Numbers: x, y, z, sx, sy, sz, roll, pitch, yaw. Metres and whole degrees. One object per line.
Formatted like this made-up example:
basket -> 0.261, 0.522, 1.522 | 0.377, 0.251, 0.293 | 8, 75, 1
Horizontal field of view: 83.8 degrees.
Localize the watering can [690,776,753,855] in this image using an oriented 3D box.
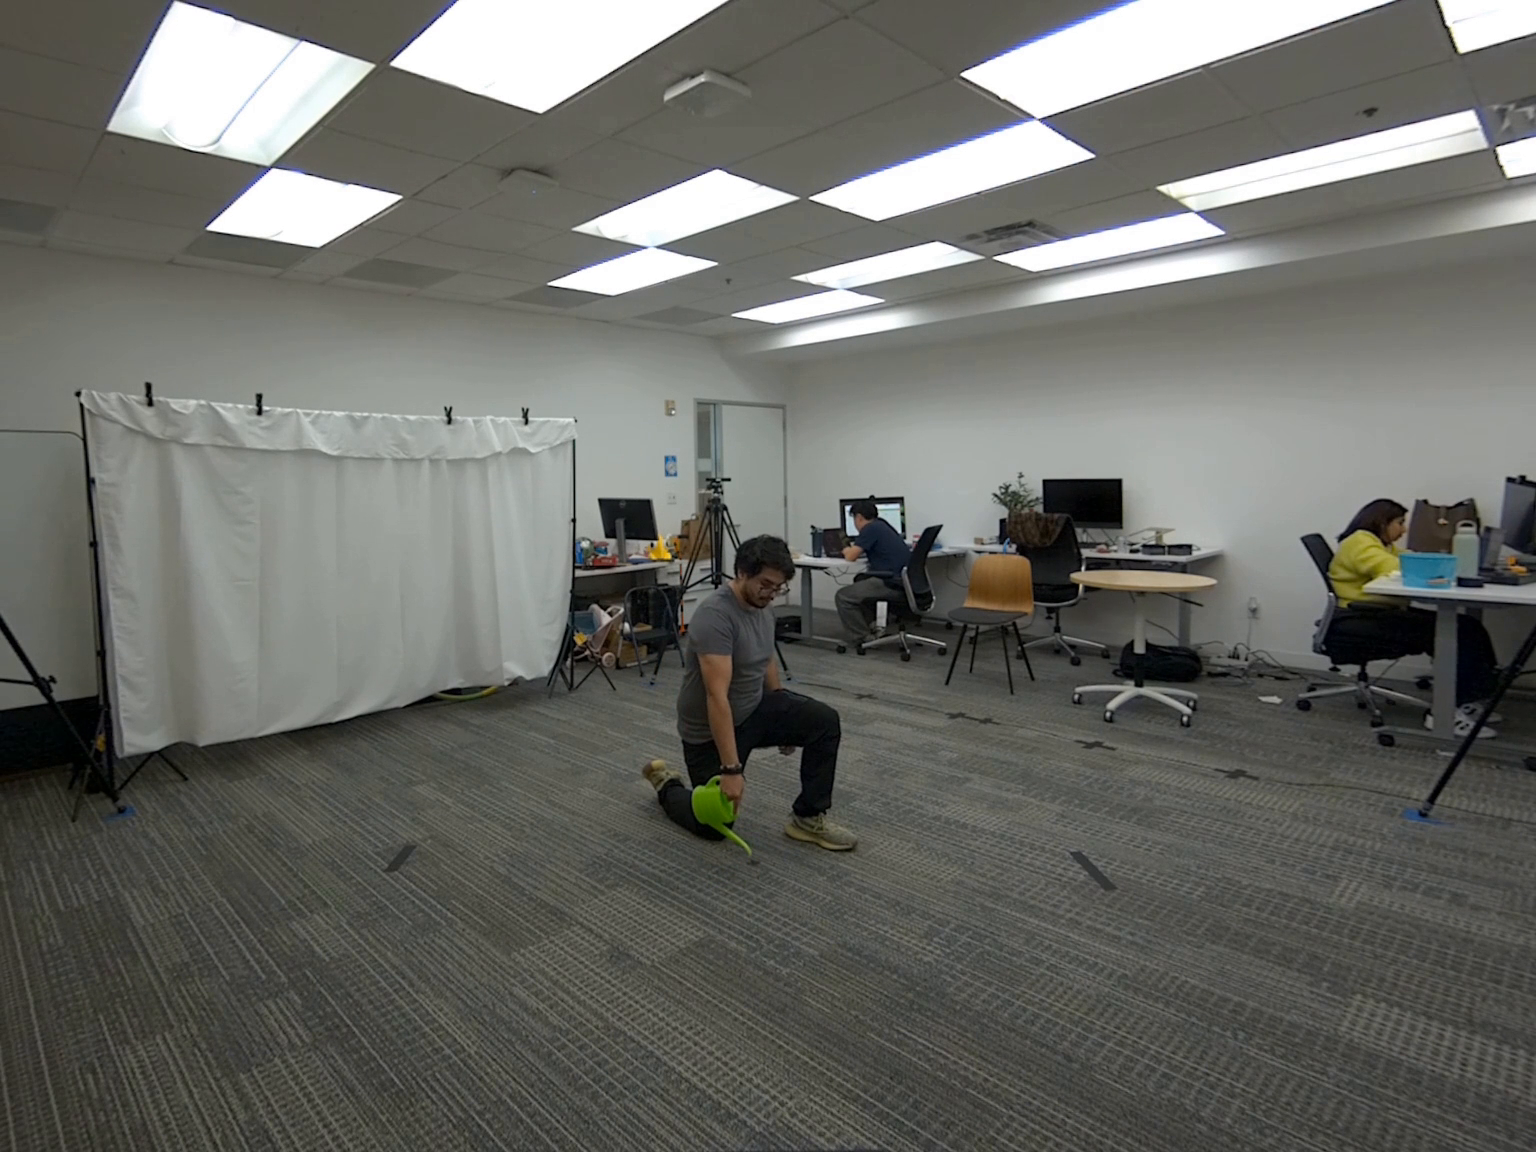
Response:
watering can -> -0.167, 0.846, 2.984 | 0.180, 0.282, 0.095 | -17, -15, 37
